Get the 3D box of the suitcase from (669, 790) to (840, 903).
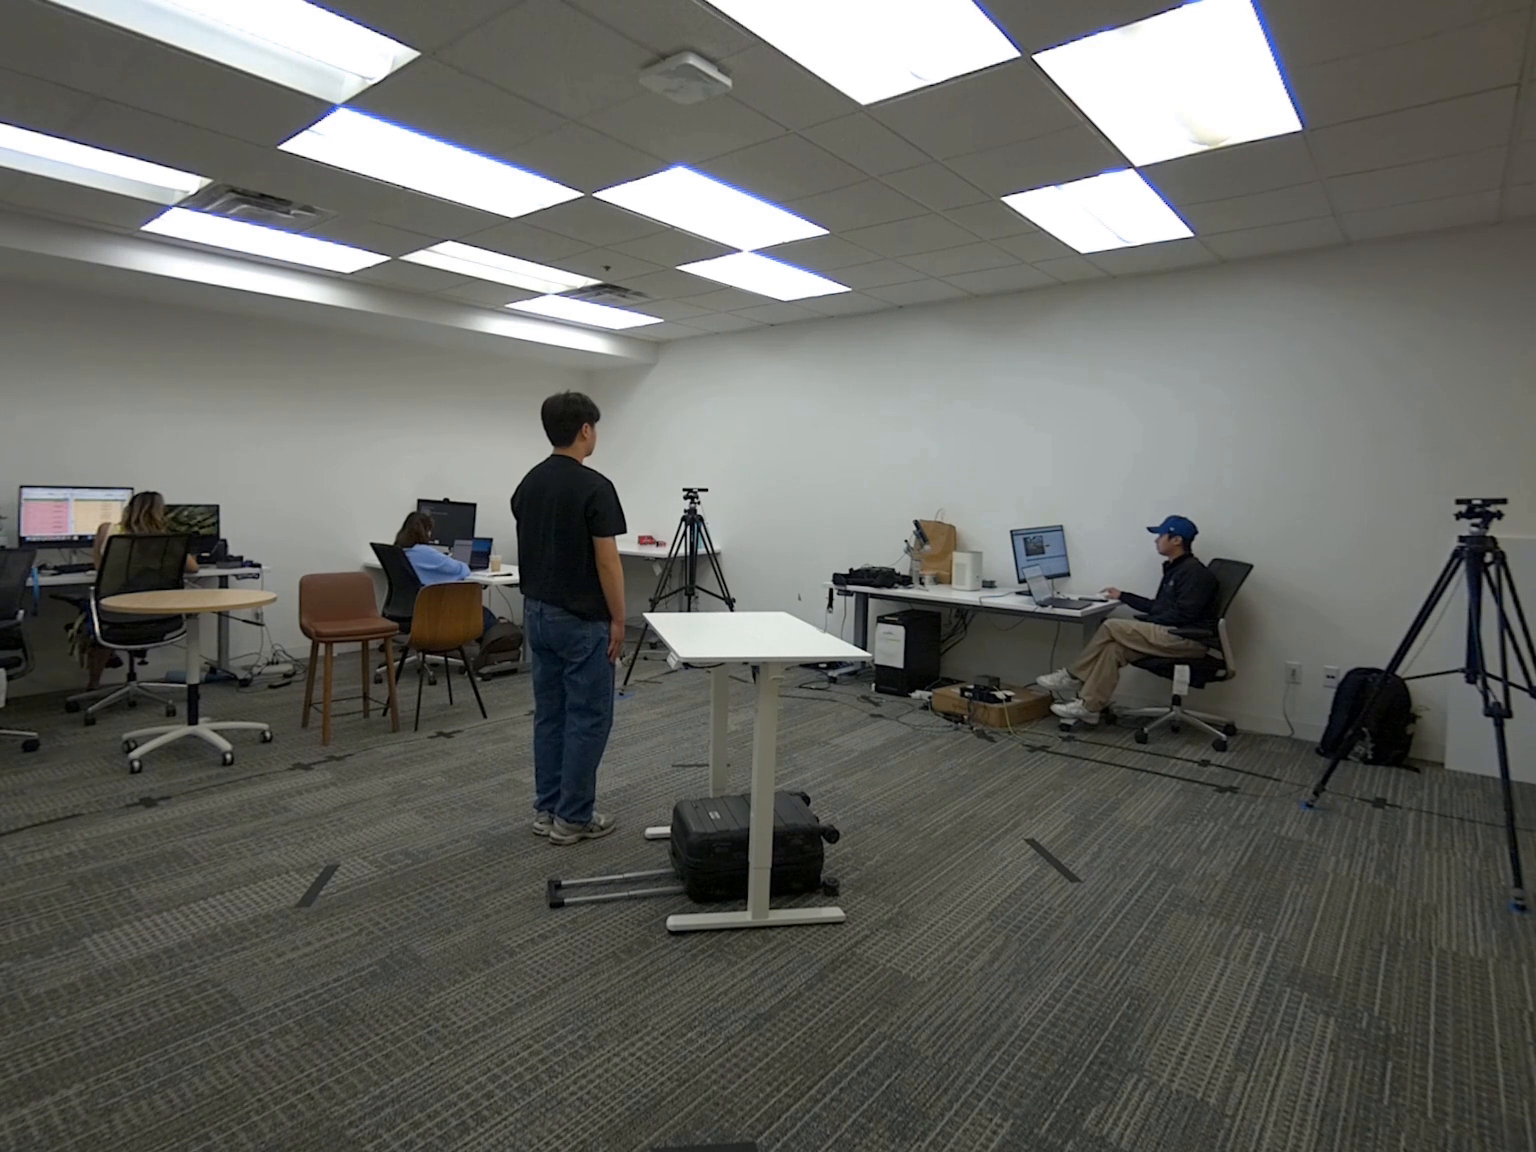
[{"bbox_3d":[-0.276,0.951,2.984,0.964,0.256,0.392,0,6,-14],"label":"suitcase"}]
